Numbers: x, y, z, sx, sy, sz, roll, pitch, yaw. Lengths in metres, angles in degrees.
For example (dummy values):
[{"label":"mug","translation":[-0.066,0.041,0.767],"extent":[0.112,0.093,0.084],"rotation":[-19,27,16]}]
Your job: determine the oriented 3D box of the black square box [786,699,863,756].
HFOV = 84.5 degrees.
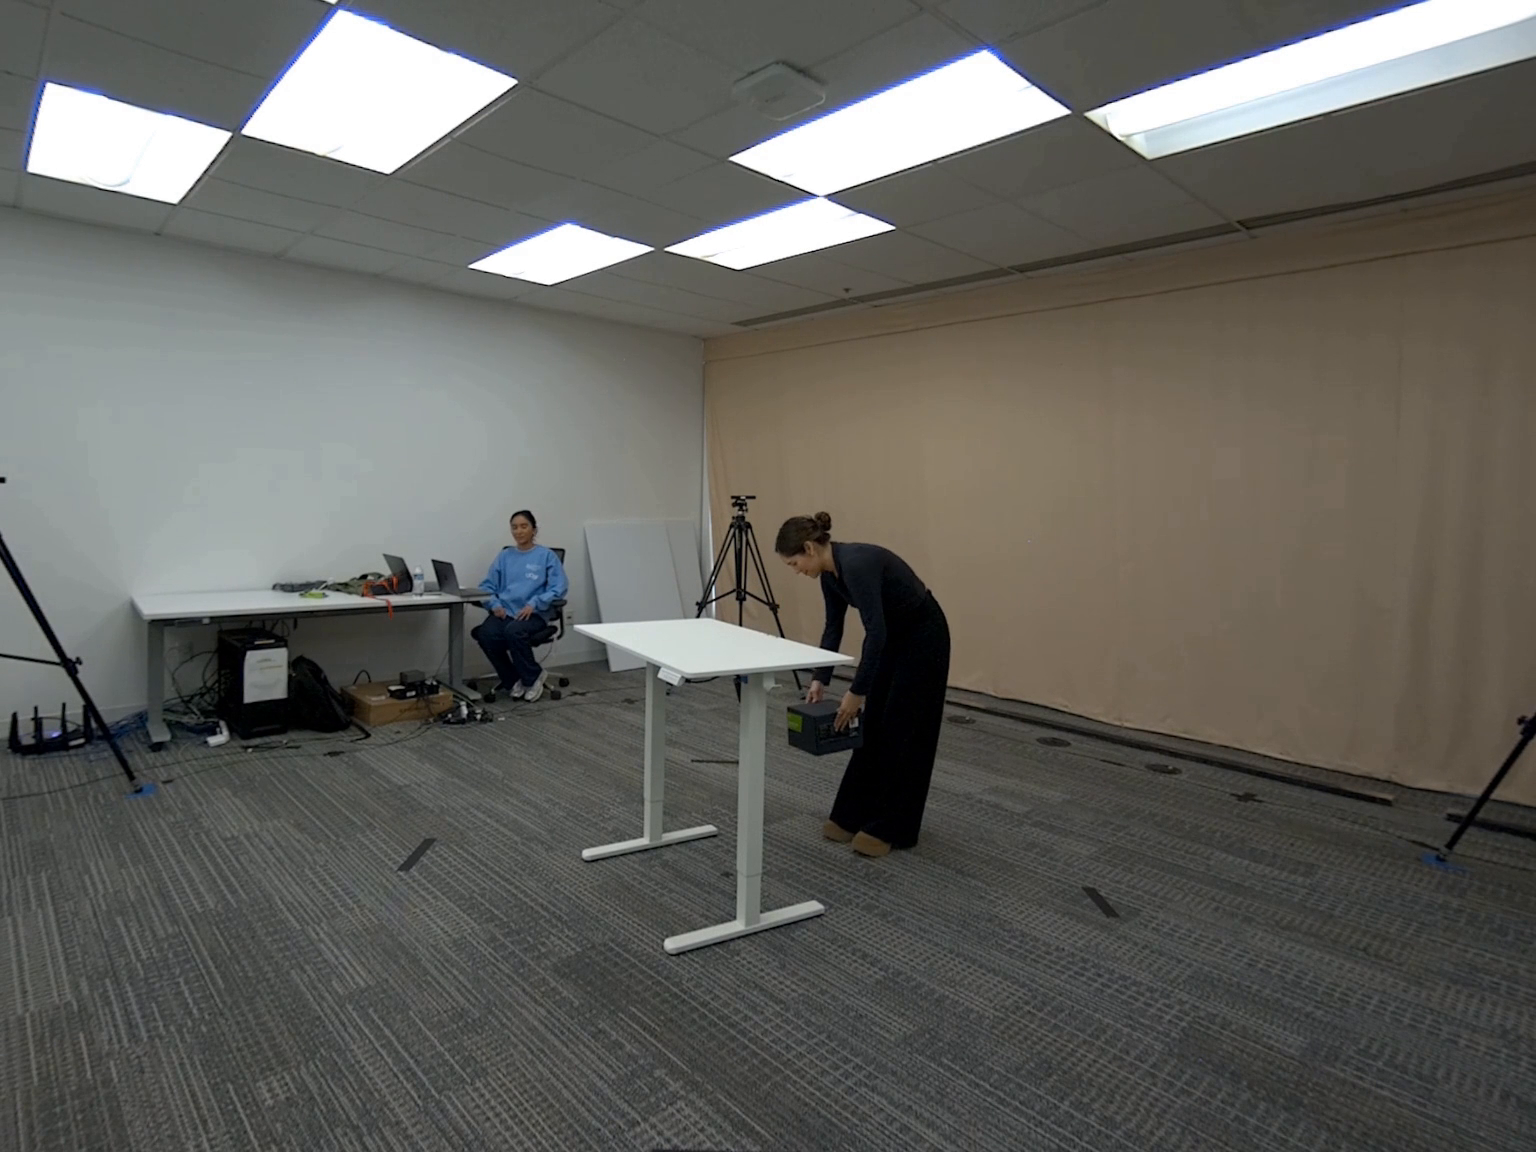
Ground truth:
[{"label":"black square box","translation":[0.228,0.597,3.342],"extent":[0.213,0.156,0.232],"rotation":[-5,3,-26]}]
